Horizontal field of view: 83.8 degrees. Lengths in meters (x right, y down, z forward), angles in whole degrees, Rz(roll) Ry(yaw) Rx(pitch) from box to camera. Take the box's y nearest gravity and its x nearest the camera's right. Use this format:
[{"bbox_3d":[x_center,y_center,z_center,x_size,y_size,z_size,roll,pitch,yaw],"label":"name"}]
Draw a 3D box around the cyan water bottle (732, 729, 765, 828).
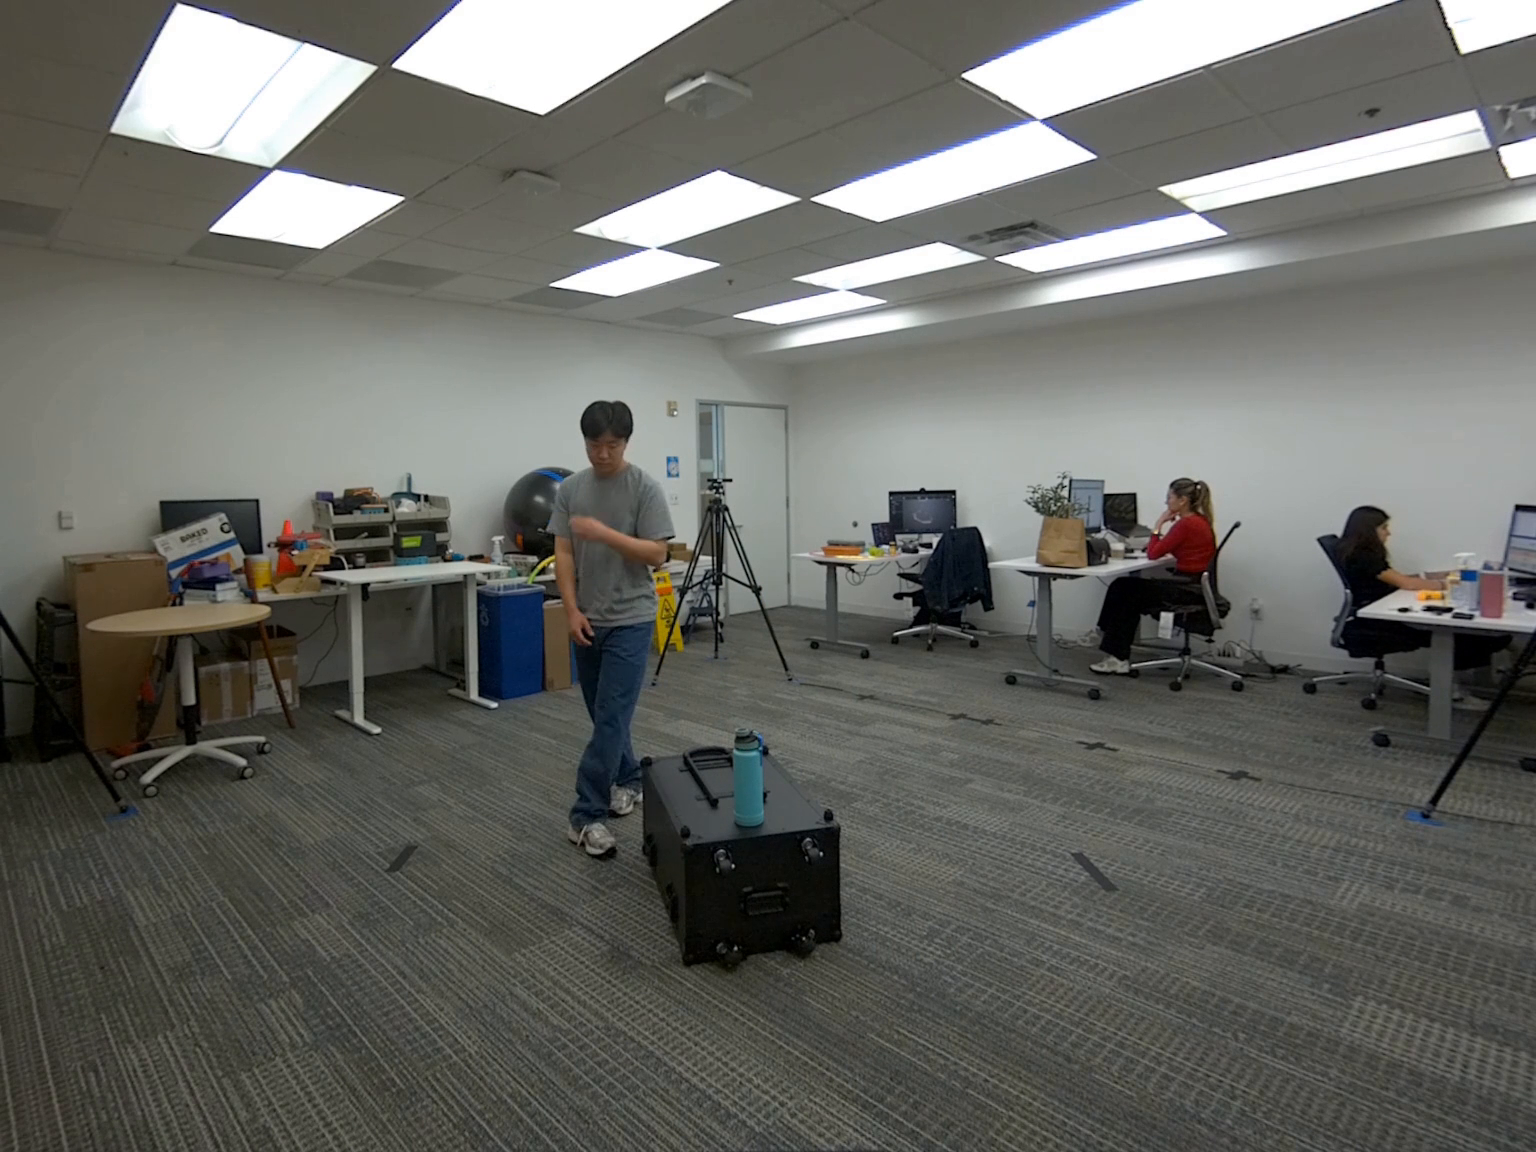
[{"bbox_3d":[-0.054,0.604,2.594,0.092,0.283,0.092,1,3,-2],"label":"cyan water bottle"}]
